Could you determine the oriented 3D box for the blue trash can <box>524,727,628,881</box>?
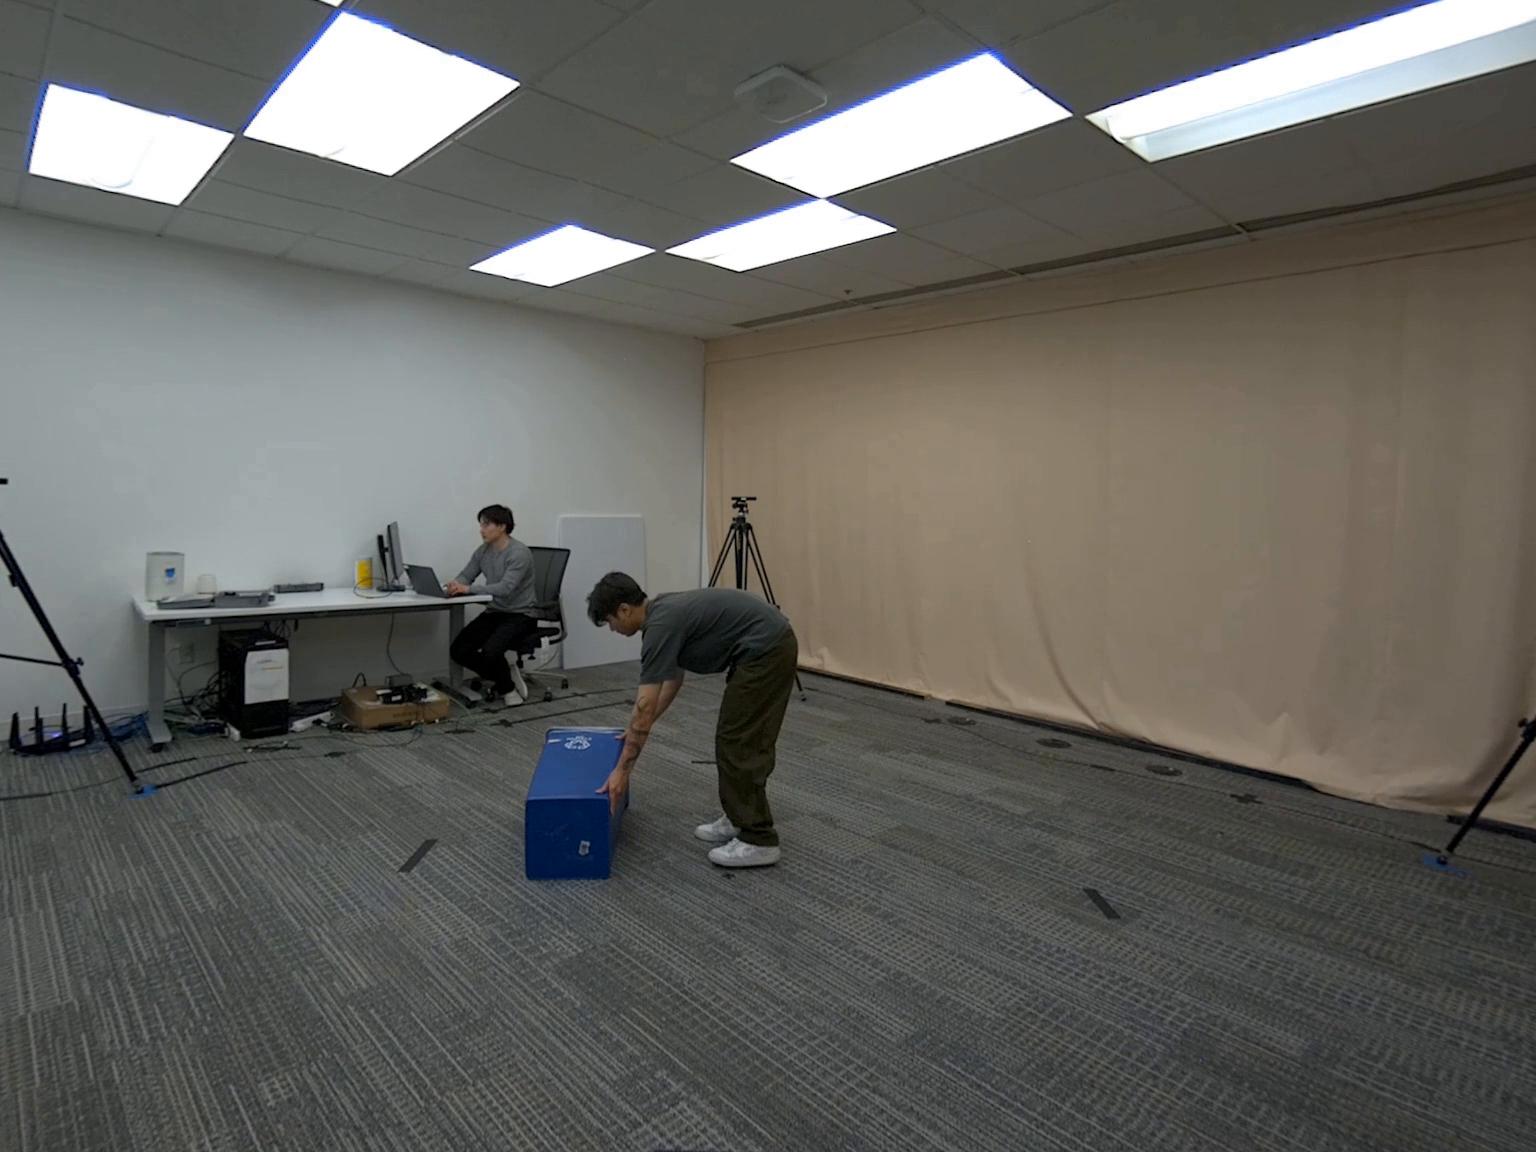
[{"bbox_3d":[-0.763,0.894,3.379,0.376,0.372,0.720,2,6,-7],"label":"blue trash can"}]
